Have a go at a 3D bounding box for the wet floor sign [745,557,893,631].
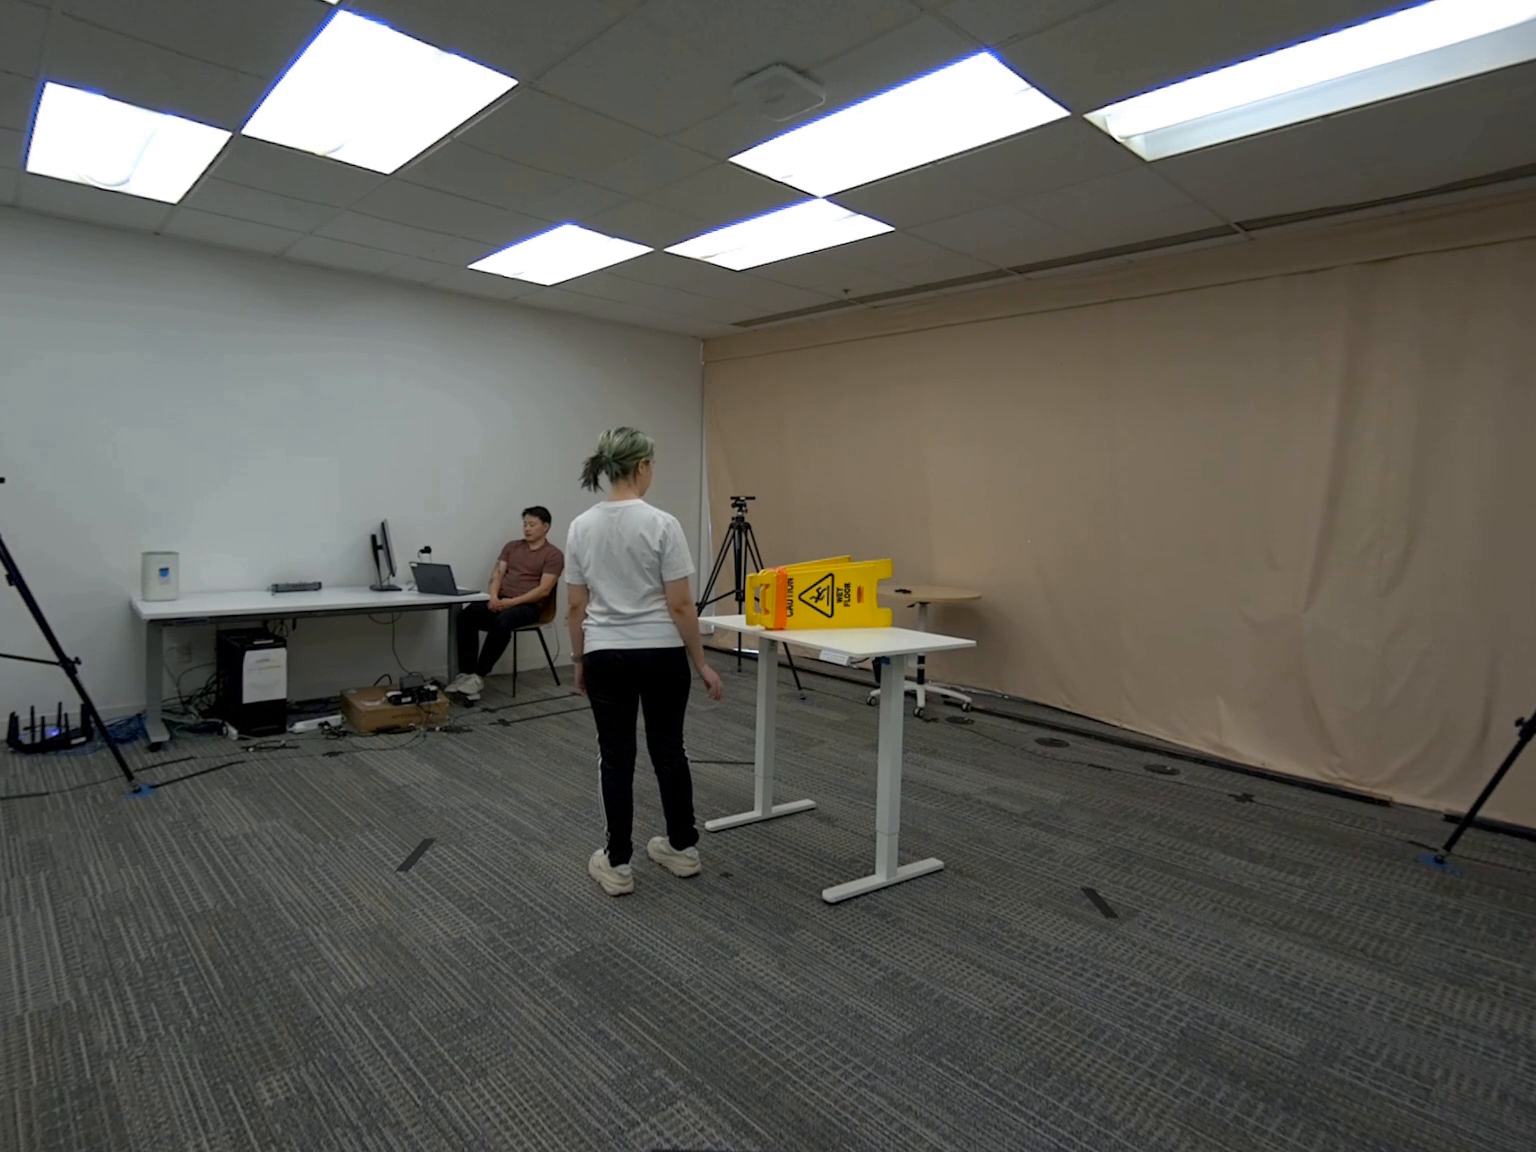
[{"bbox_3d":[0.168,0.079,3.376,0.632,0.281,0.297,-4,6,-36],"label":"wet floor sign"}]
